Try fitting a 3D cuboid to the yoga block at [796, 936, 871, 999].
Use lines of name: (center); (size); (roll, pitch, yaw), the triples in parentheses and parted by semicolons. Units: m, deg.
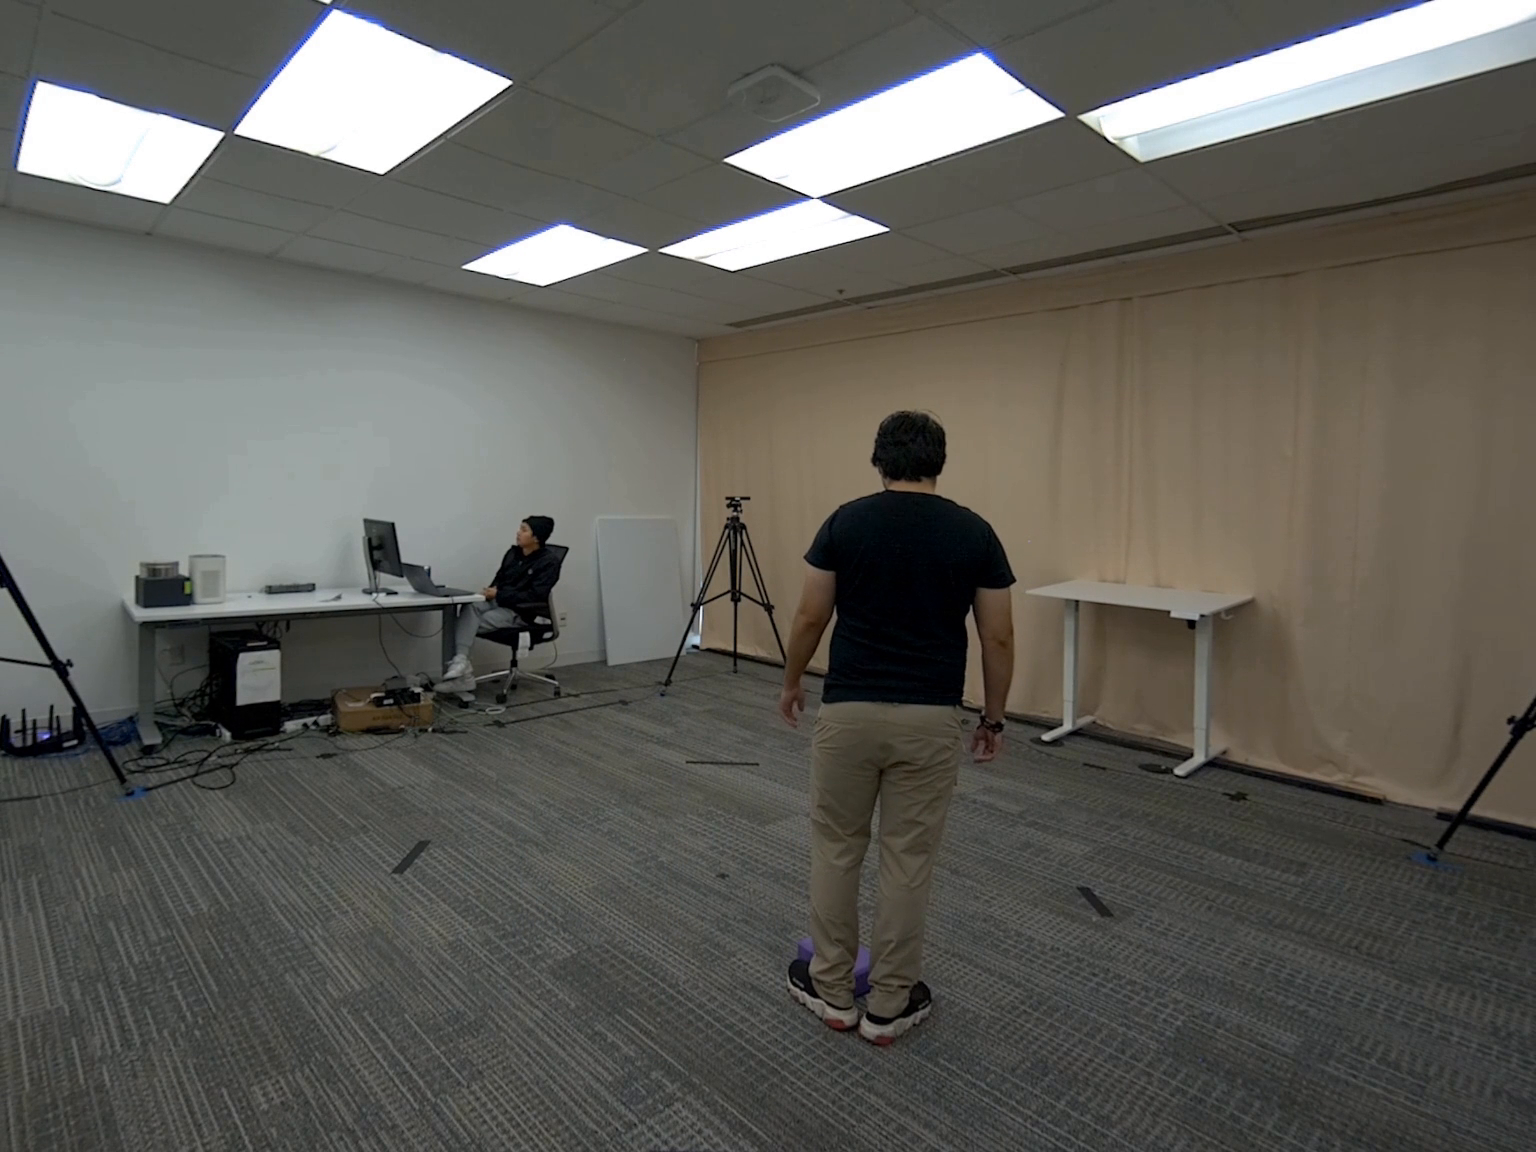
yoga block: (0.210, 1.139, 2.471); (0.146, 0.076, 0.235); (-3, 6, -39)
